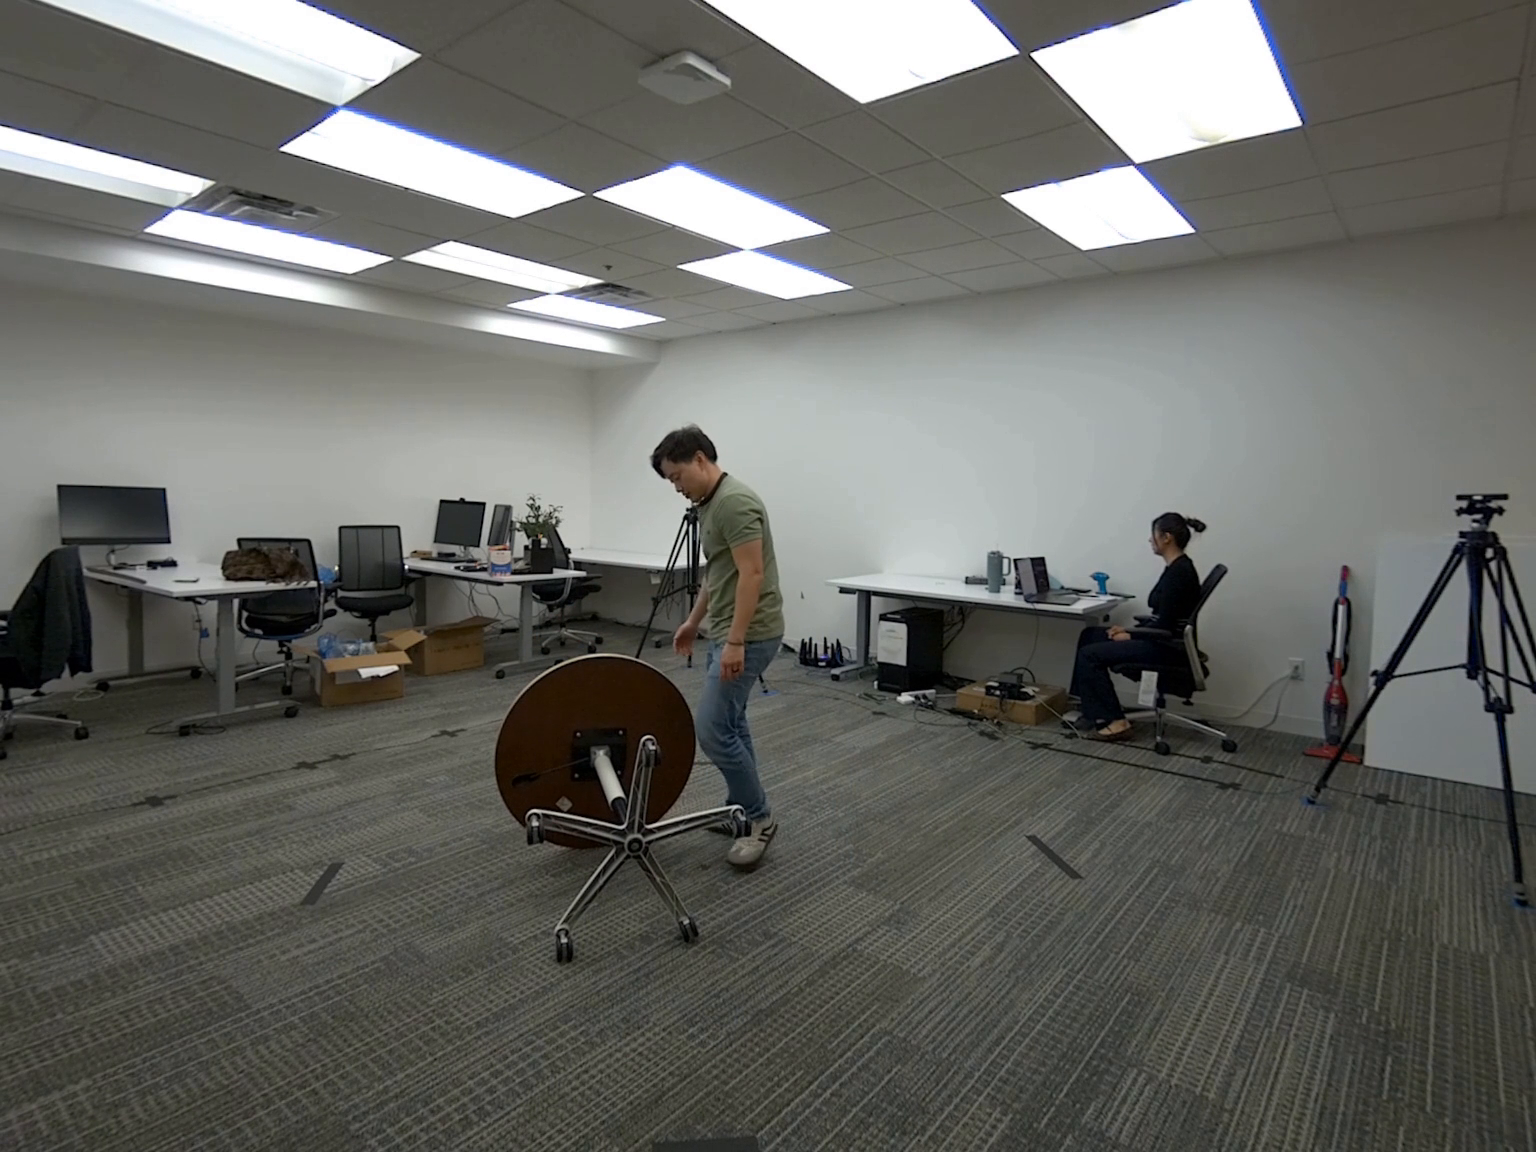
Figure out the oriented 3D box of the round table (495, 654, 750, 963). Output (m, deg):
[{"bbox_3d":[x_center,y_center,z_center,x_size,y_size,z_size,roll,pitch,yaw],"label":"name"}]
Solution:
[{"bbox_3d":[-0.523,0.750,2.859,0.749,0.757,0.816,-1,11,-19],"label":"round table"}]
